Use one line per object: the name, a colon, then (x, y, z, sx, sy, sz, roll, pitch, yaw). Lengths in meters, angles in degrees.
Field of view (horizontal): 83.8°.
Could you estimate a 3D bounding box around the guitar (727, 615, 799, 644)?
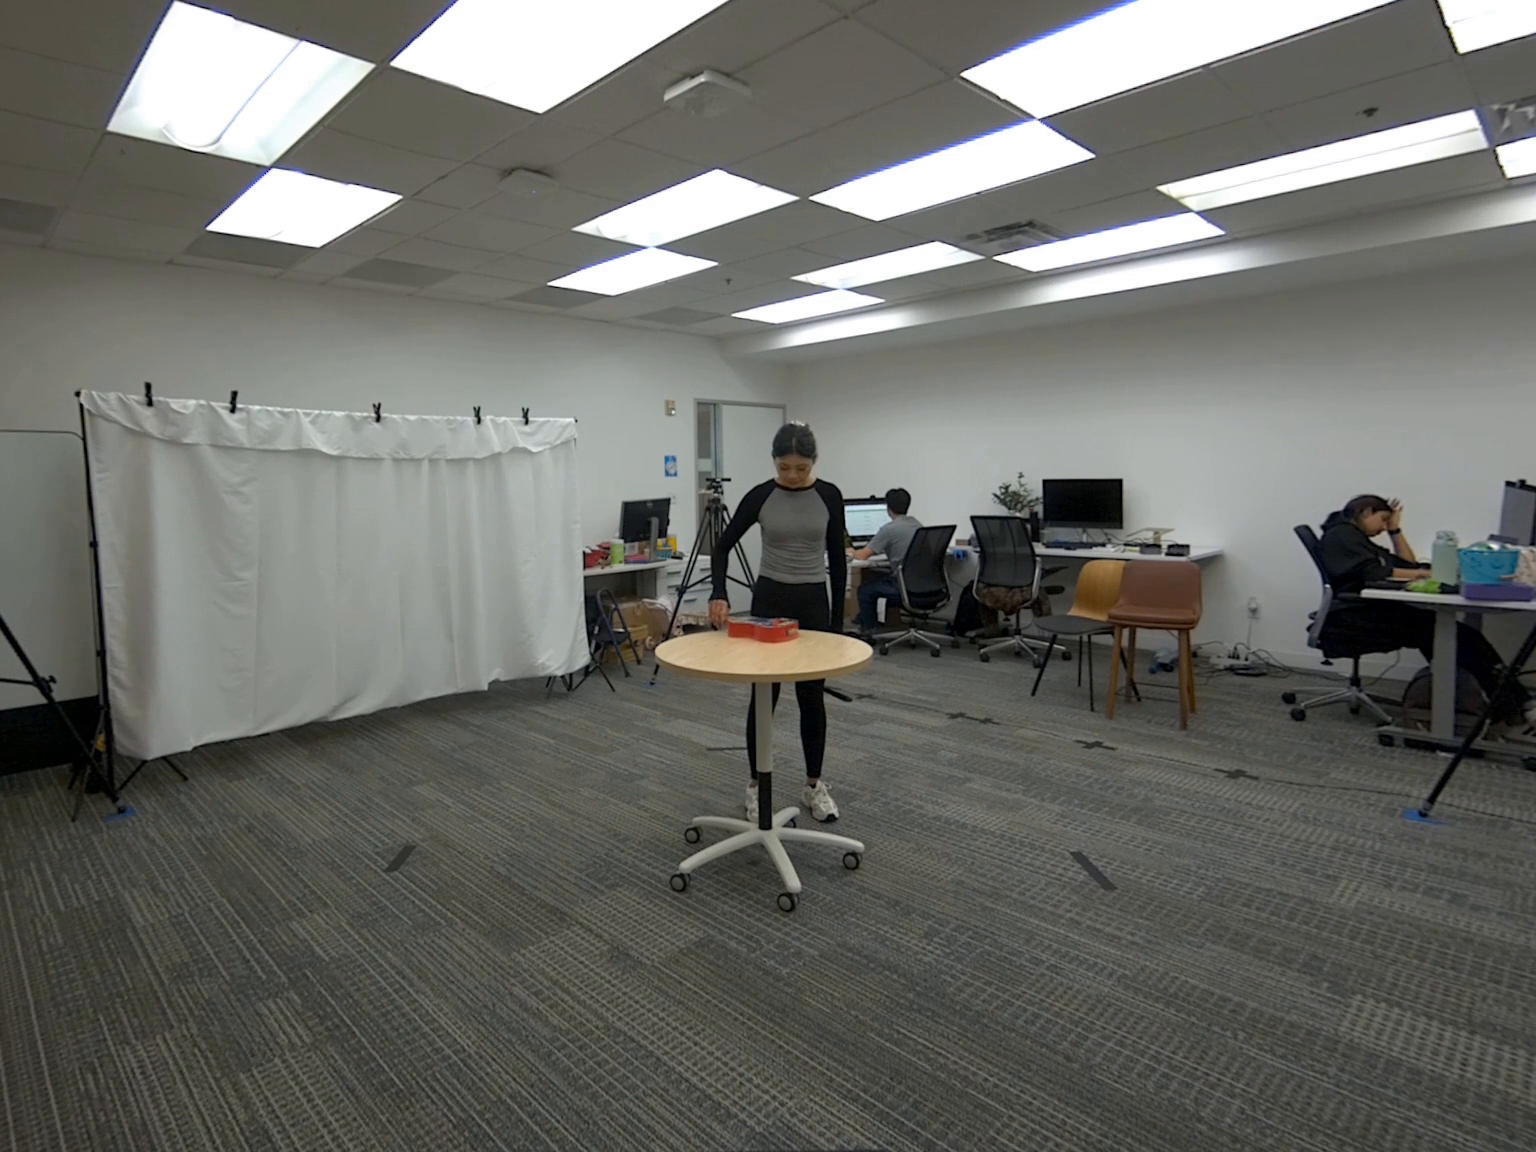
guitar: (-0.107, 0.191, 3.335, 0.513, 0.070, 0.188, 5, 9, 41)
